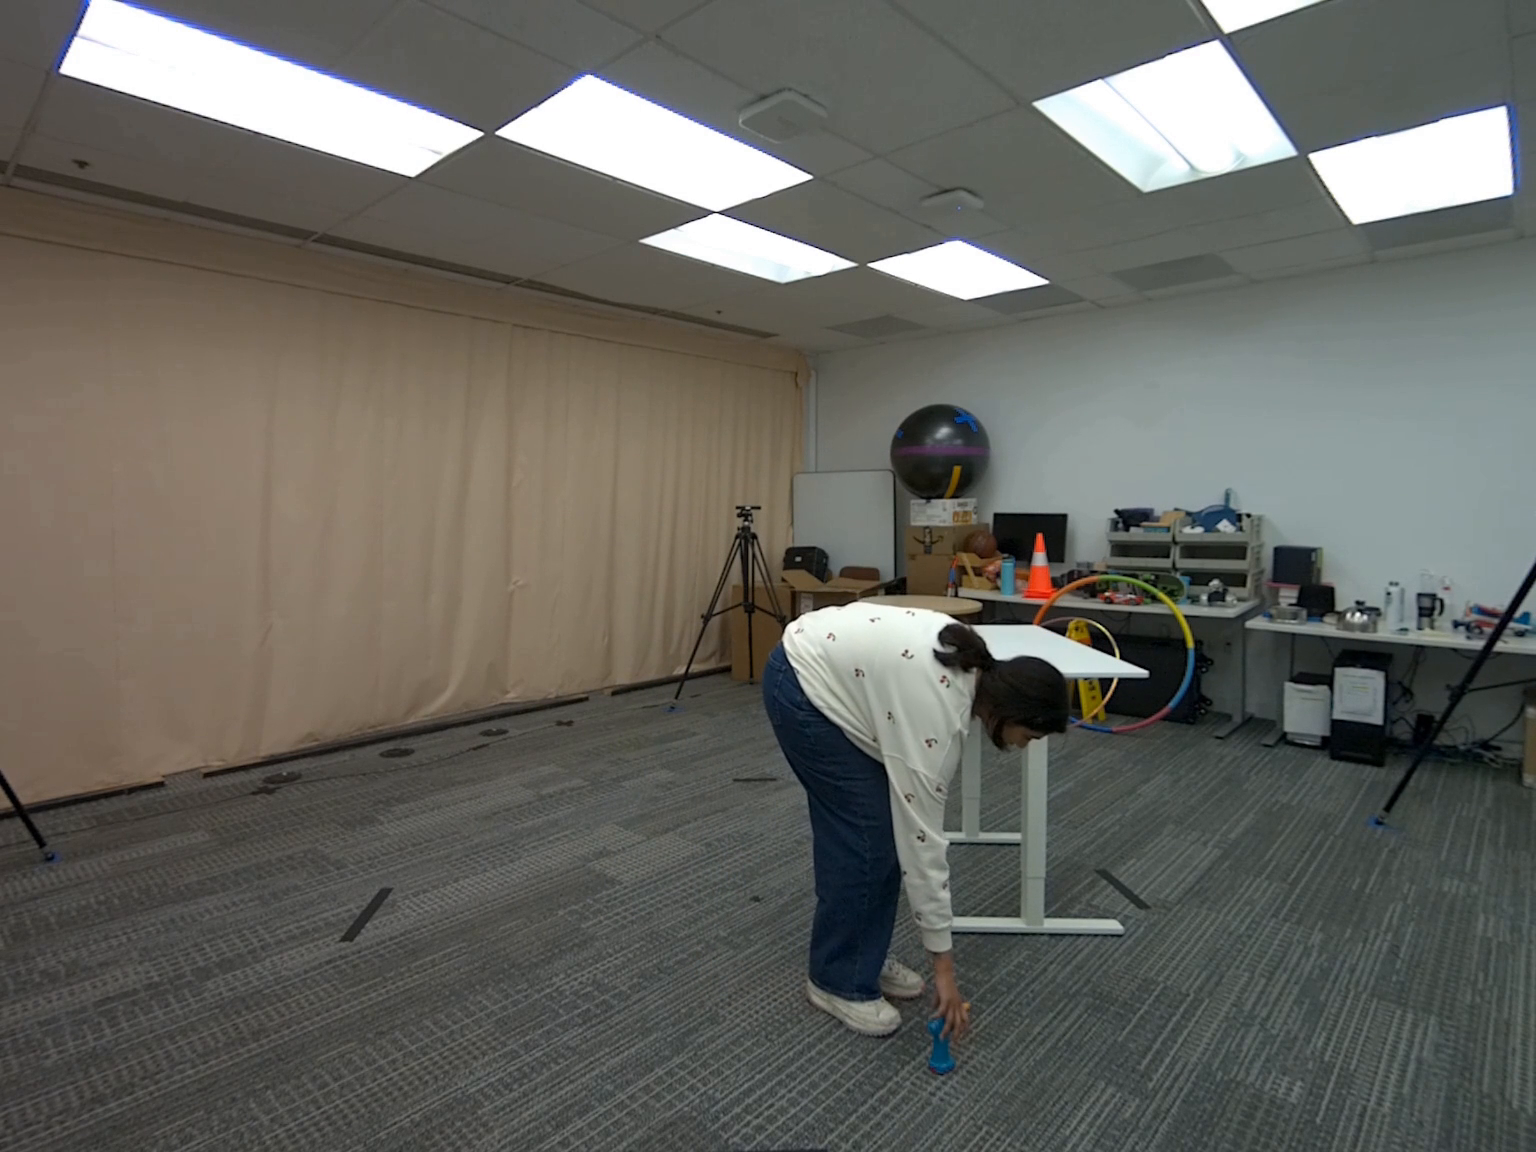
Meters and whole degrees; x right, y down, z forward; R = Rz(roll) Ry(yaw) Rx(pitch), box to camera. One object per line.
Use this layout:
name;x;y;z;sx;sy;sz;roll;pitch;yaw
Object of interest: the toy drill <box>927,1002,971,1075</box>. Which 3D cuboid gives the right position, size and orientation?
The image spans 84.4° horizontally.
toy drill;0.465;1.142;2.111;0.165;0.146;0.063;-6;5;-42
